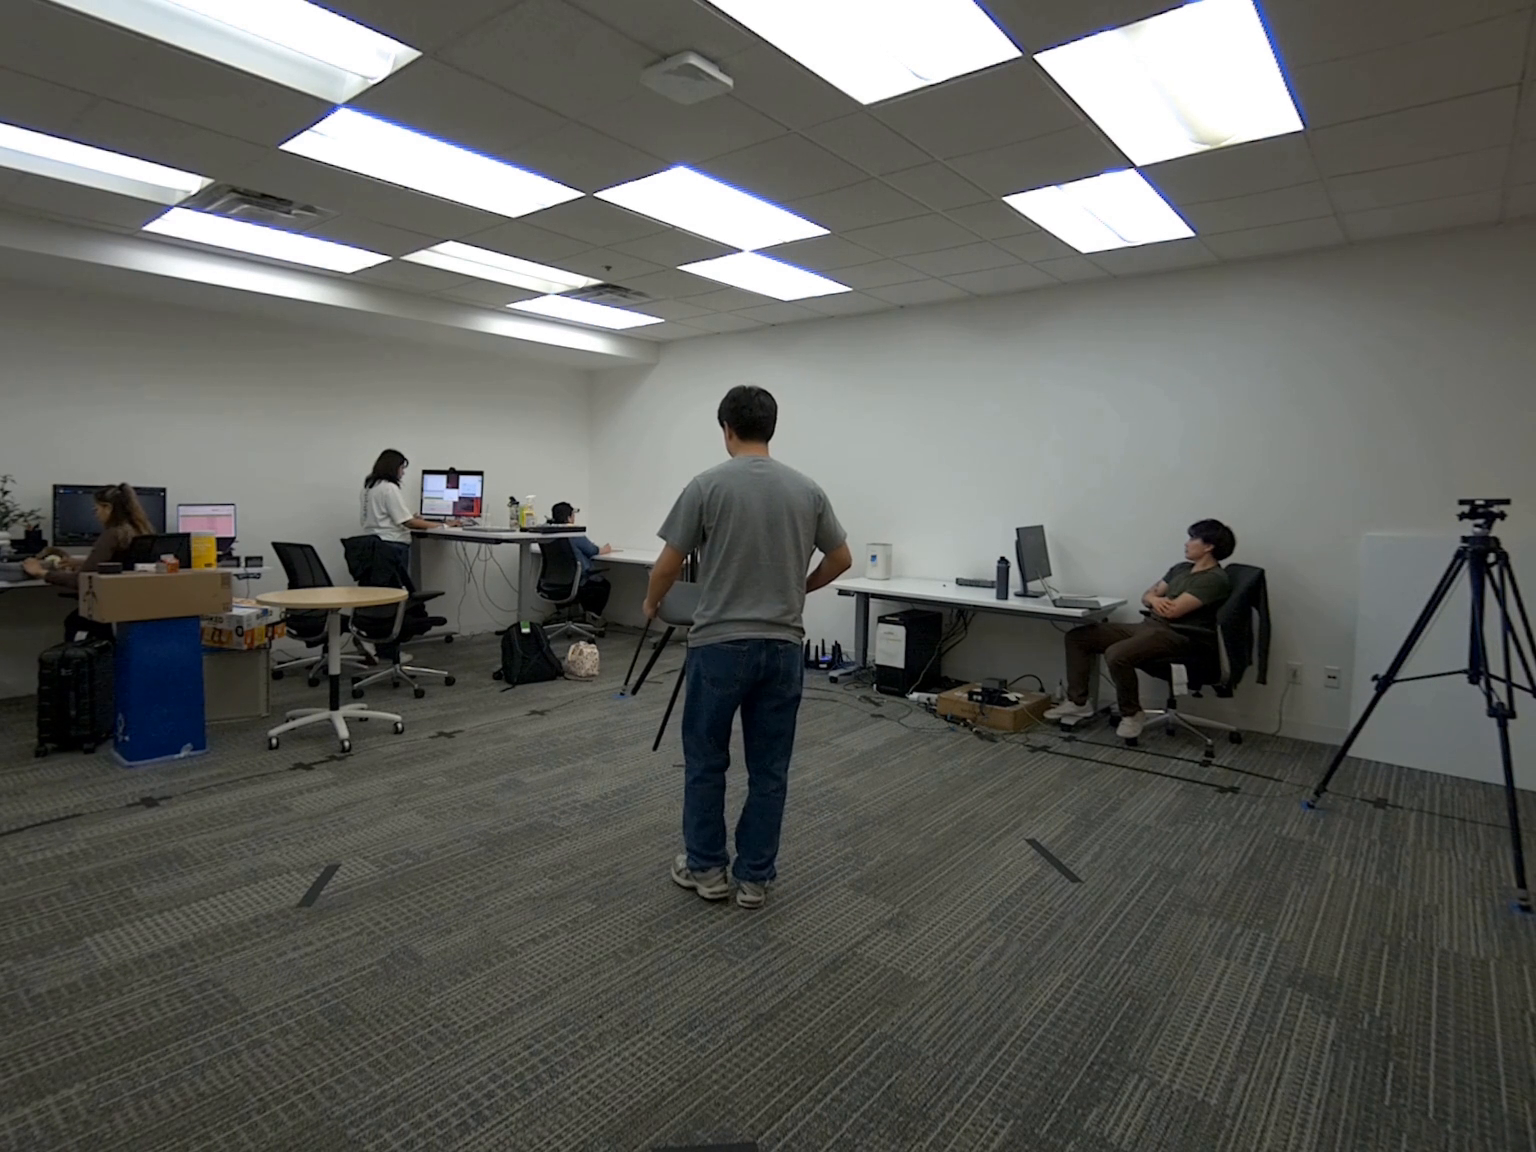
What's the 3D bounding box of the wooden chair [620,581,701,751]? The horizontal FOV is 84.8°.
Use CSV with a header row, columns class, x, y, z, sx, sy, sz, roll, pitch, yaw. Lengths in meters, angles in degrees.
class,x,y,z,sx,sy,sz,roll,pitch,yaw
wooden chair,-0.197,0.174,3.176,0.510,0.871,0.494,12,13,-22
